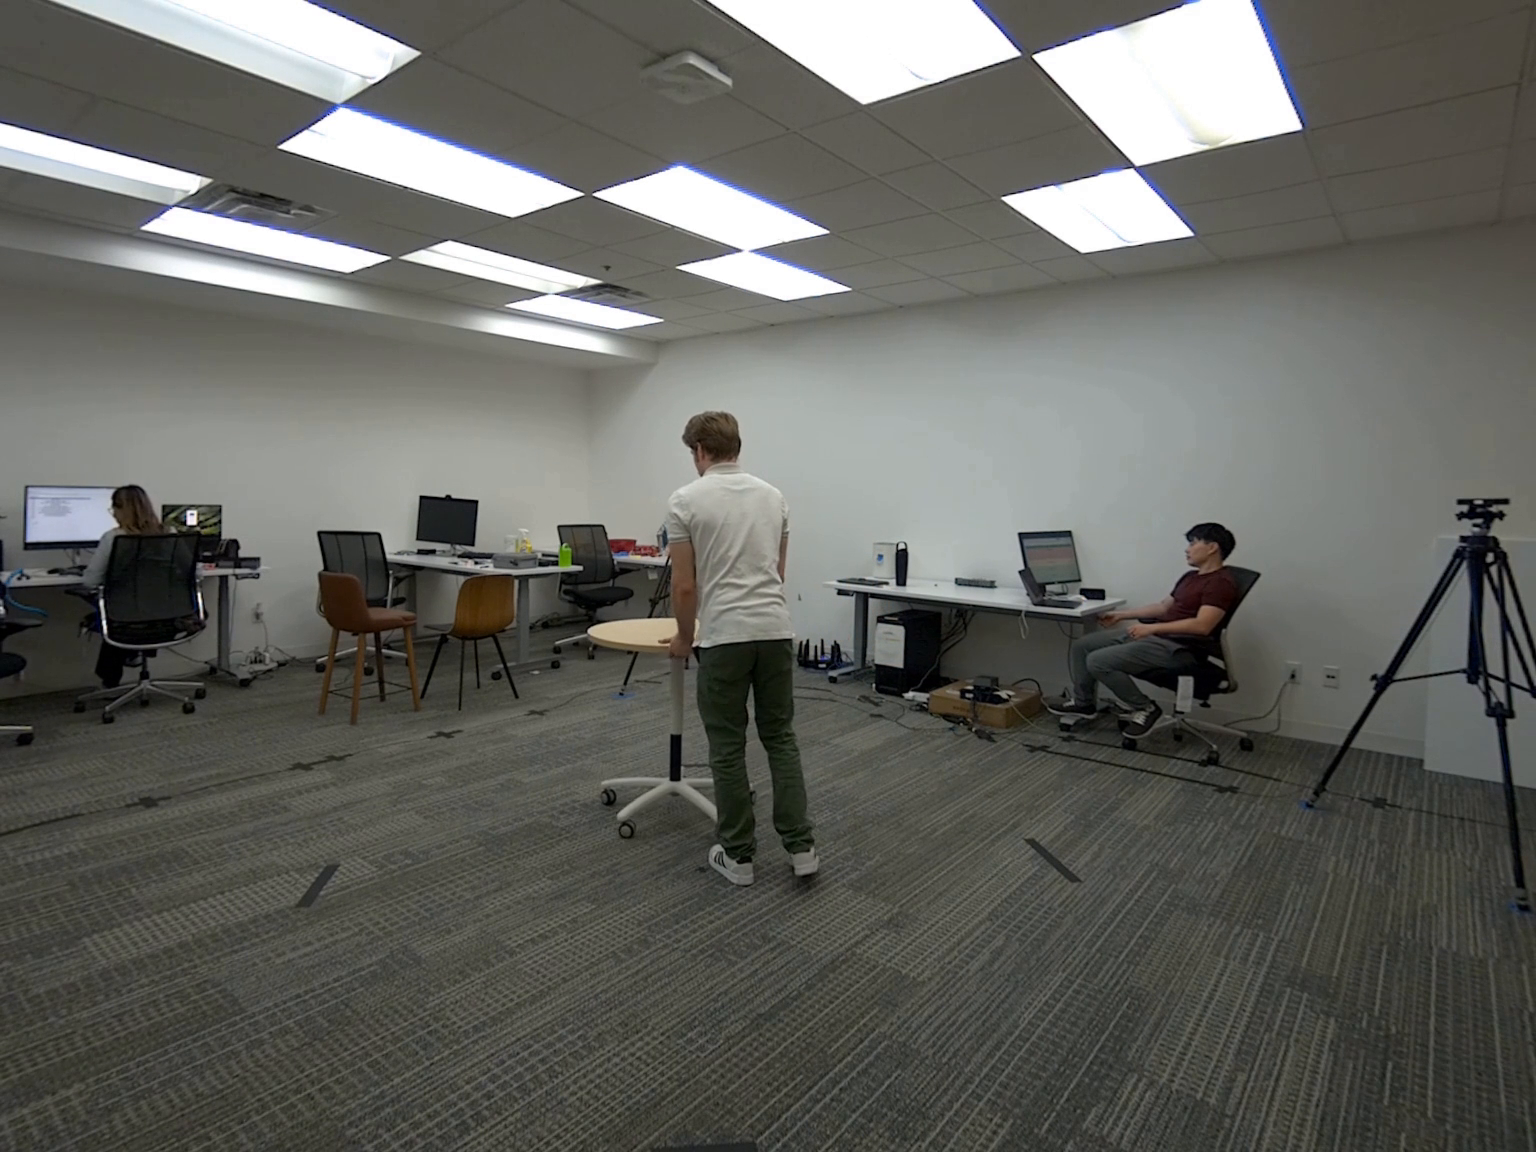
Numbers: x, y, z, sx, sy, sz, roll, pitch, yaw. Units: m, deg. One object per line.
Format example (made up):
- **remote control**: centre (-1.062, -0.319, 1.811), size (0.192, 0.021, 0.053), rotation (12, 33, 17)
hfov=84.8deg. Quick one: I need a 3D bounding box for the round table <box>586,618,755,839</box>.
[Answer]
- **round table**: centre (-0.404, 0.626, 3.647), size (0.763, 0.792, 0.767), rotation (1, 4, -2)
